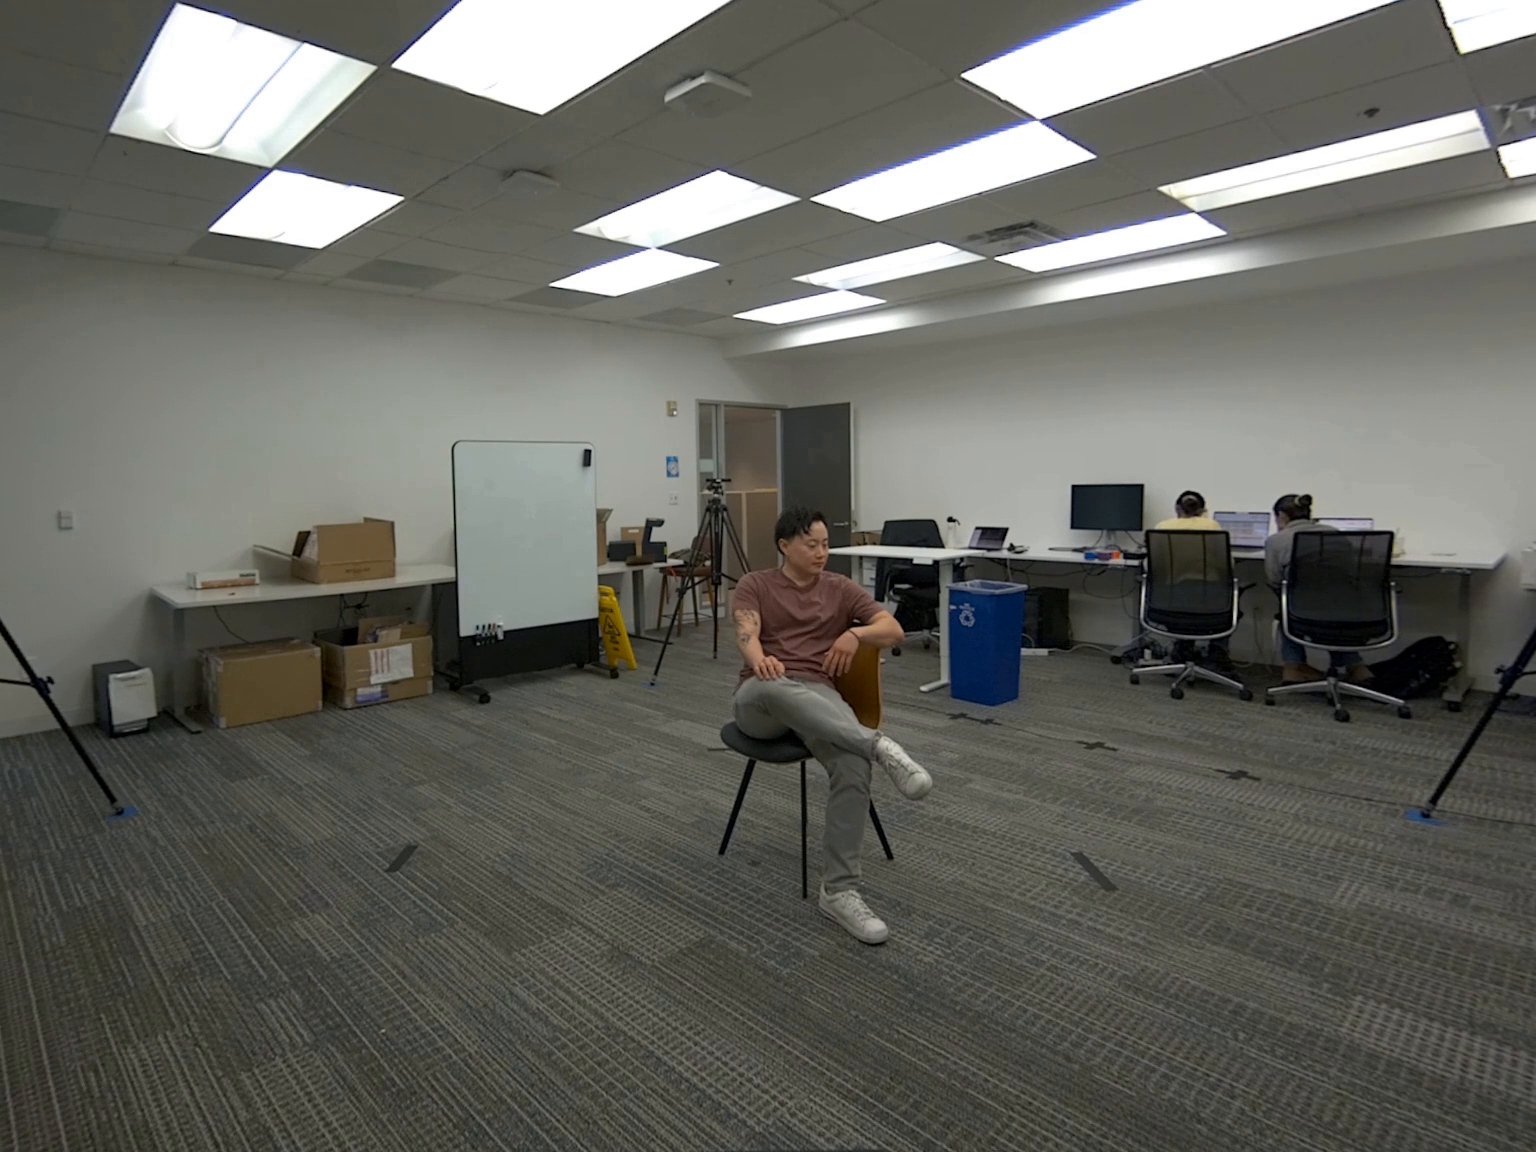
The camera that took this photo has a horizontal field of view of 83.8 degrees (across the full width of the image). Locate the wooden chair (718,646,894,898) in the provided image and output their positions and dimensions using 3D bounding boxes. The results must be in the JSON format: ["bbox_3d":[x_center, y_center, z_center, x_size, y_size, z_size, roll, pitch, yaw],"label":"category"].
[{"bbox_3d":[0.124,0.613,3.116,0.508,0.877,0.492,1,1,-41],"label":"wooden chair"}]
